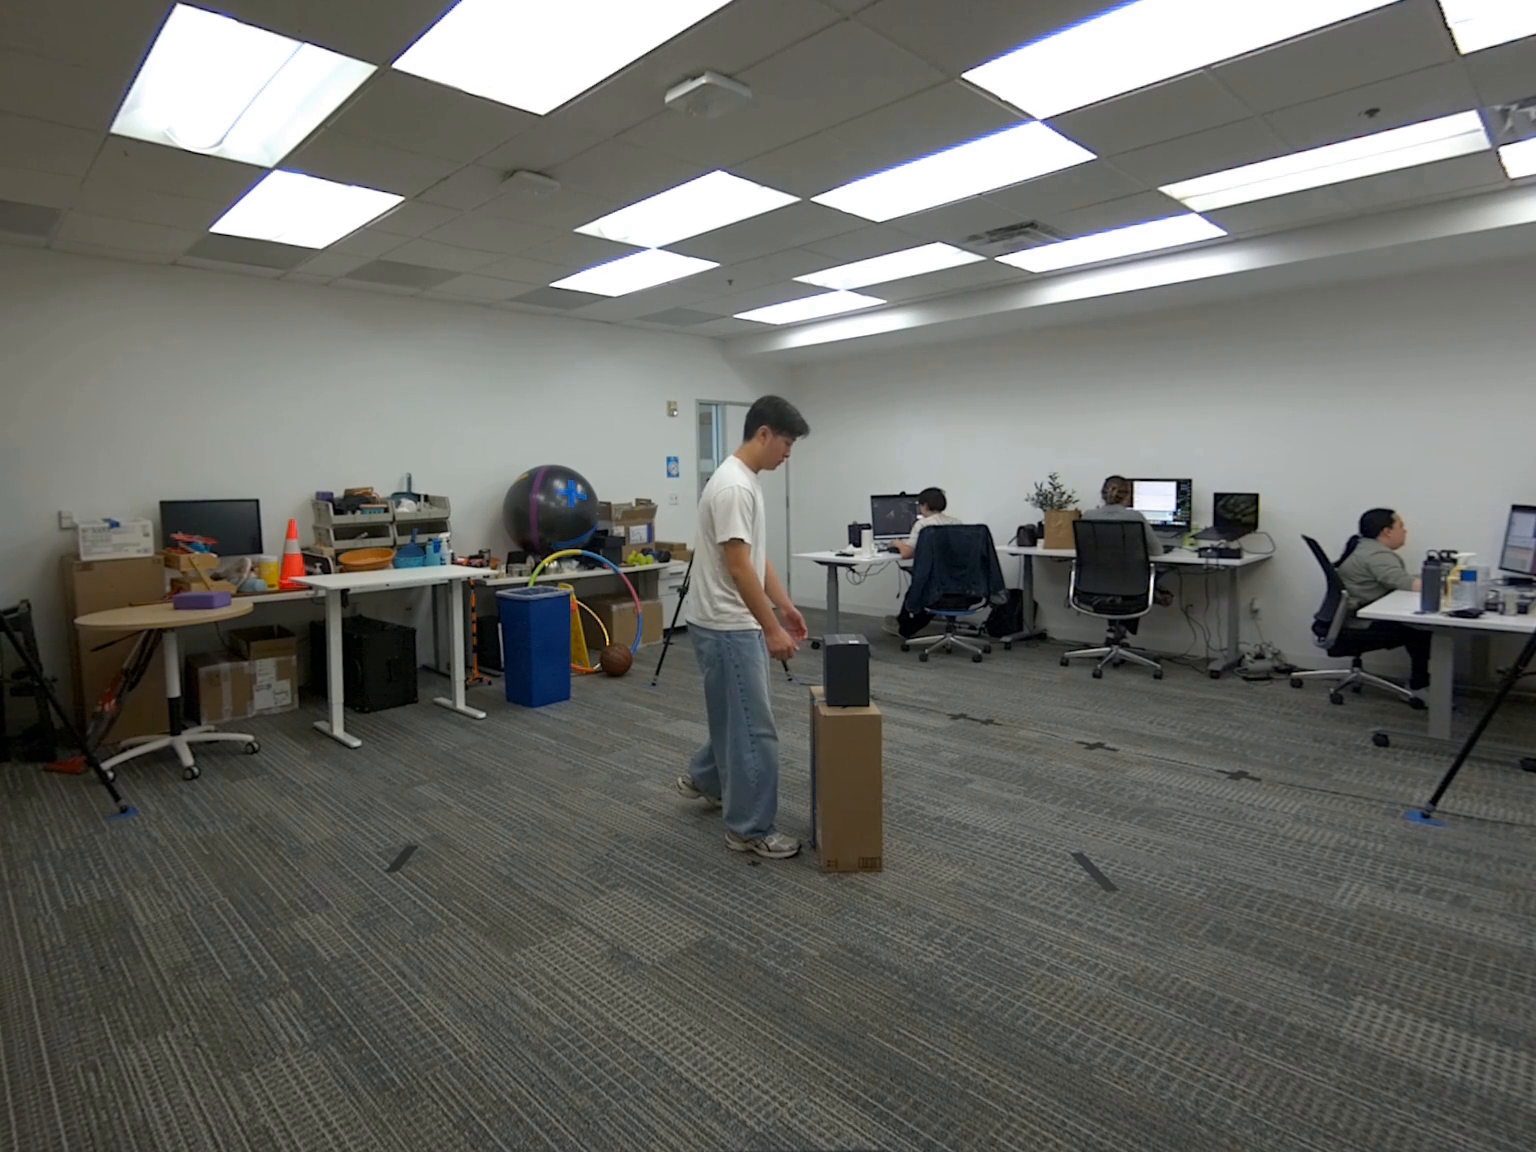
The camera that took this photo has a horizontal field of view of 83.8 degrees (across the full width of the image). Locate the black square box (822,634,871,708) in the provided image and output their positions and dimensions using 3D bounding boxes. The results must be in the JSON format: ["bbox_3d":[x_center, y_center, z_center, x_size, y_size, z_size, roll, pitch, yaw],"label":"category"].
[{"bbox_3d":[0.289,0.346,3.196,0.156,0.227,0.217,0,5,3],"label":"black square box"}]
